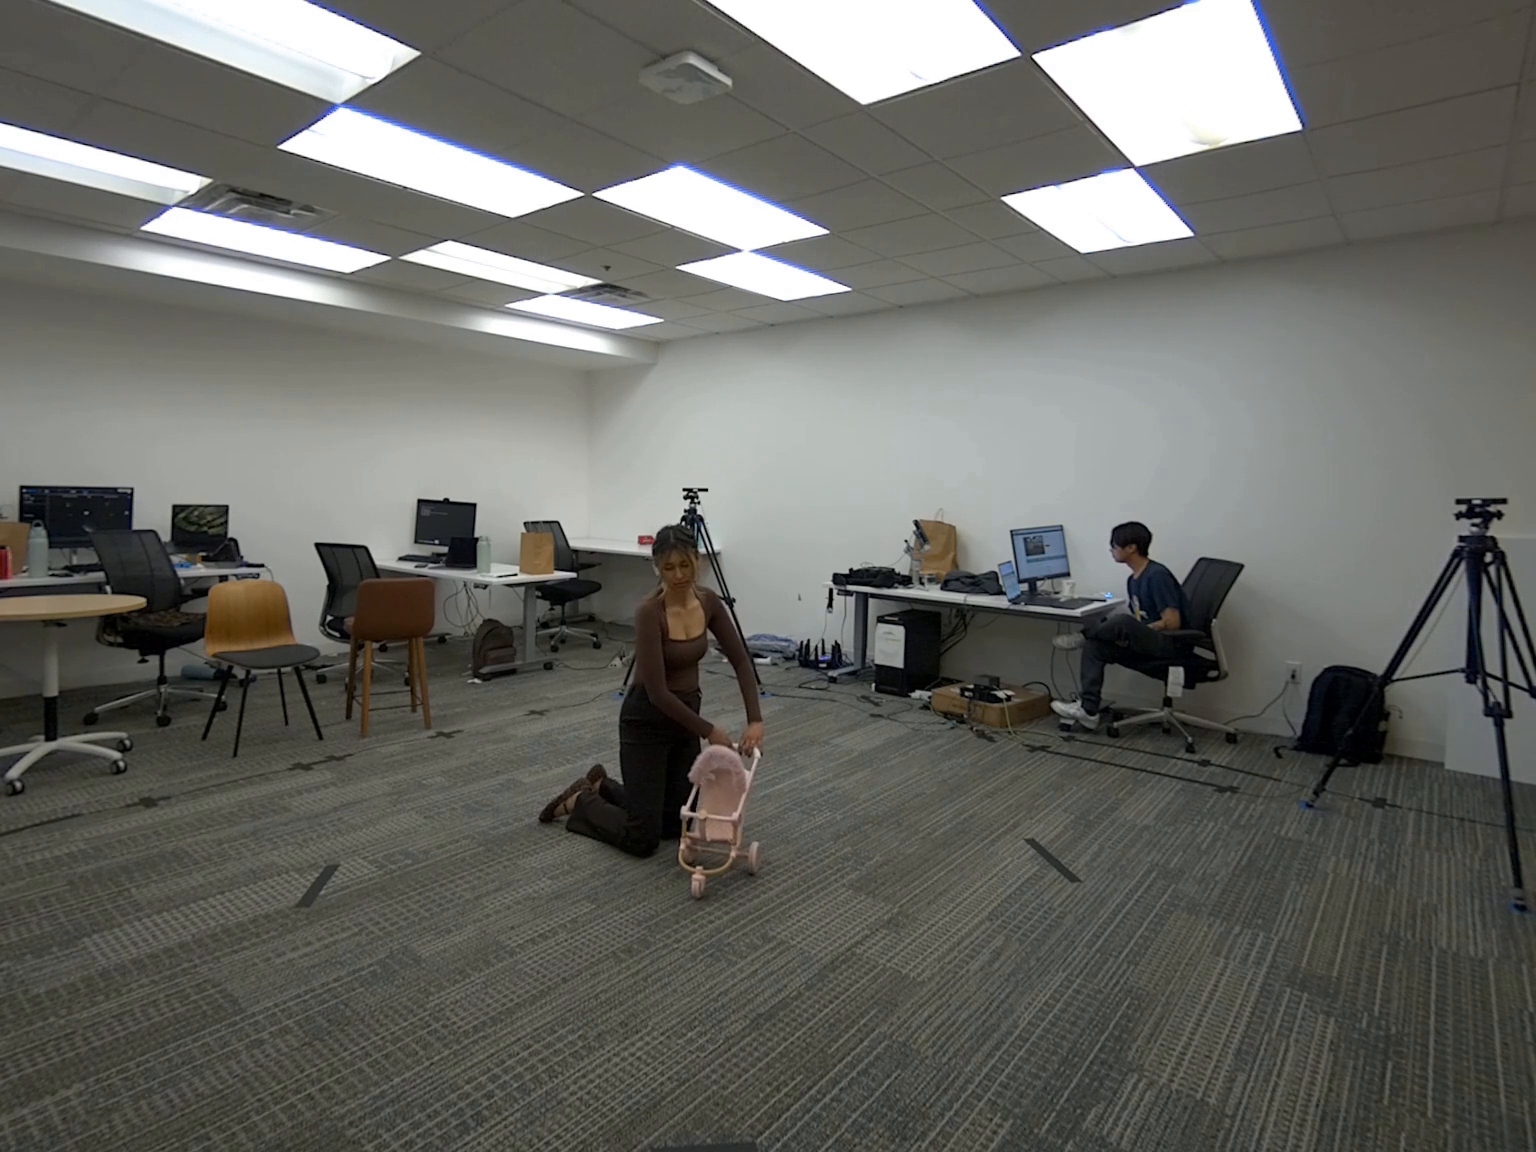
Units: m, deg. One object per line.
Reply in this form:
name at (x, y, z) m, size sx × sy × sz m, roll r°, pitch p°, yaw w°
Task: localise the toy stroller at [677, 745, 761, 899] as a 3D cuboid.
toy stroller at (-0.194, 0.851, 3.062) m, size 0.287 × 0.541 × 0.330 m, roll 1°, pitch -15°, yaw 20°
